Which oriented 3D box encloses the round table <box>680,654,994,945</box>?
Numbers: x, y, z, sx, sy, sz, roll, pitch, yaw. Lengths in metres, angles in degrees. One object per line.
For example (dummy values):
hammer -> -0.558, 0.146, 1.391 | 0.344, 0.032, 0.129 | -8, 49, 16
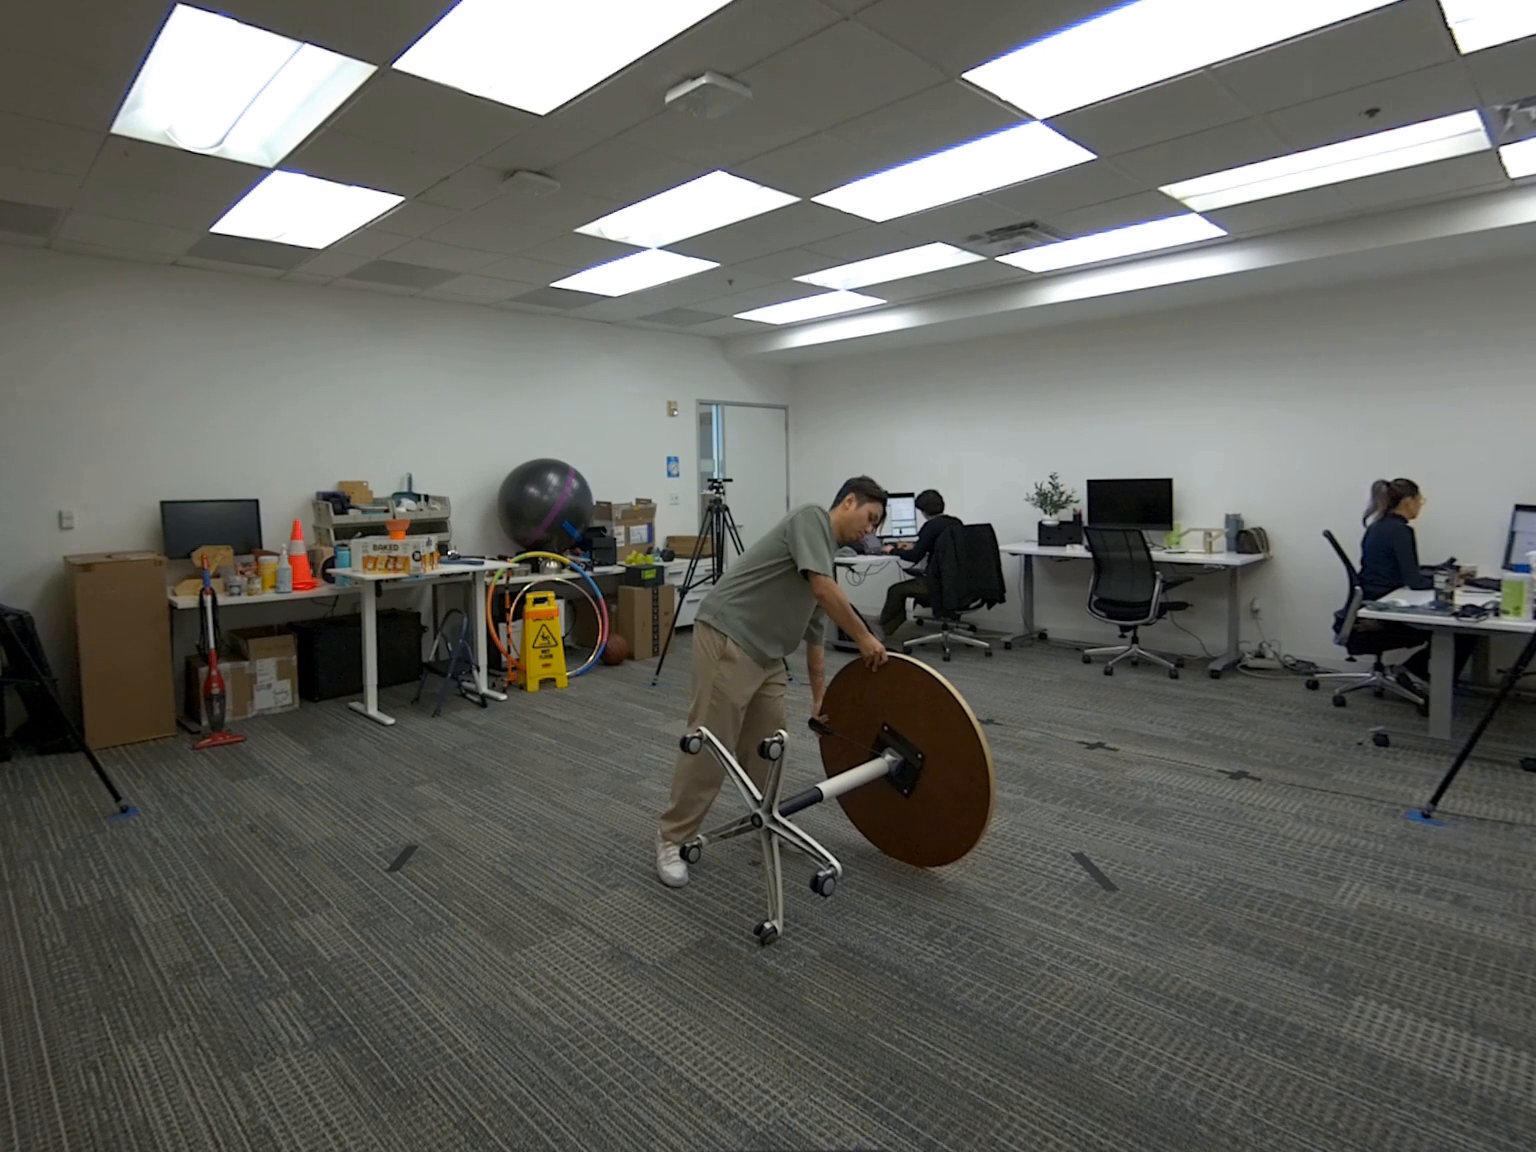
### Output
round table -> 0.194, 0.713, 2.824 | 0.768, 0.780, 0.809 | -11, 10, -41
